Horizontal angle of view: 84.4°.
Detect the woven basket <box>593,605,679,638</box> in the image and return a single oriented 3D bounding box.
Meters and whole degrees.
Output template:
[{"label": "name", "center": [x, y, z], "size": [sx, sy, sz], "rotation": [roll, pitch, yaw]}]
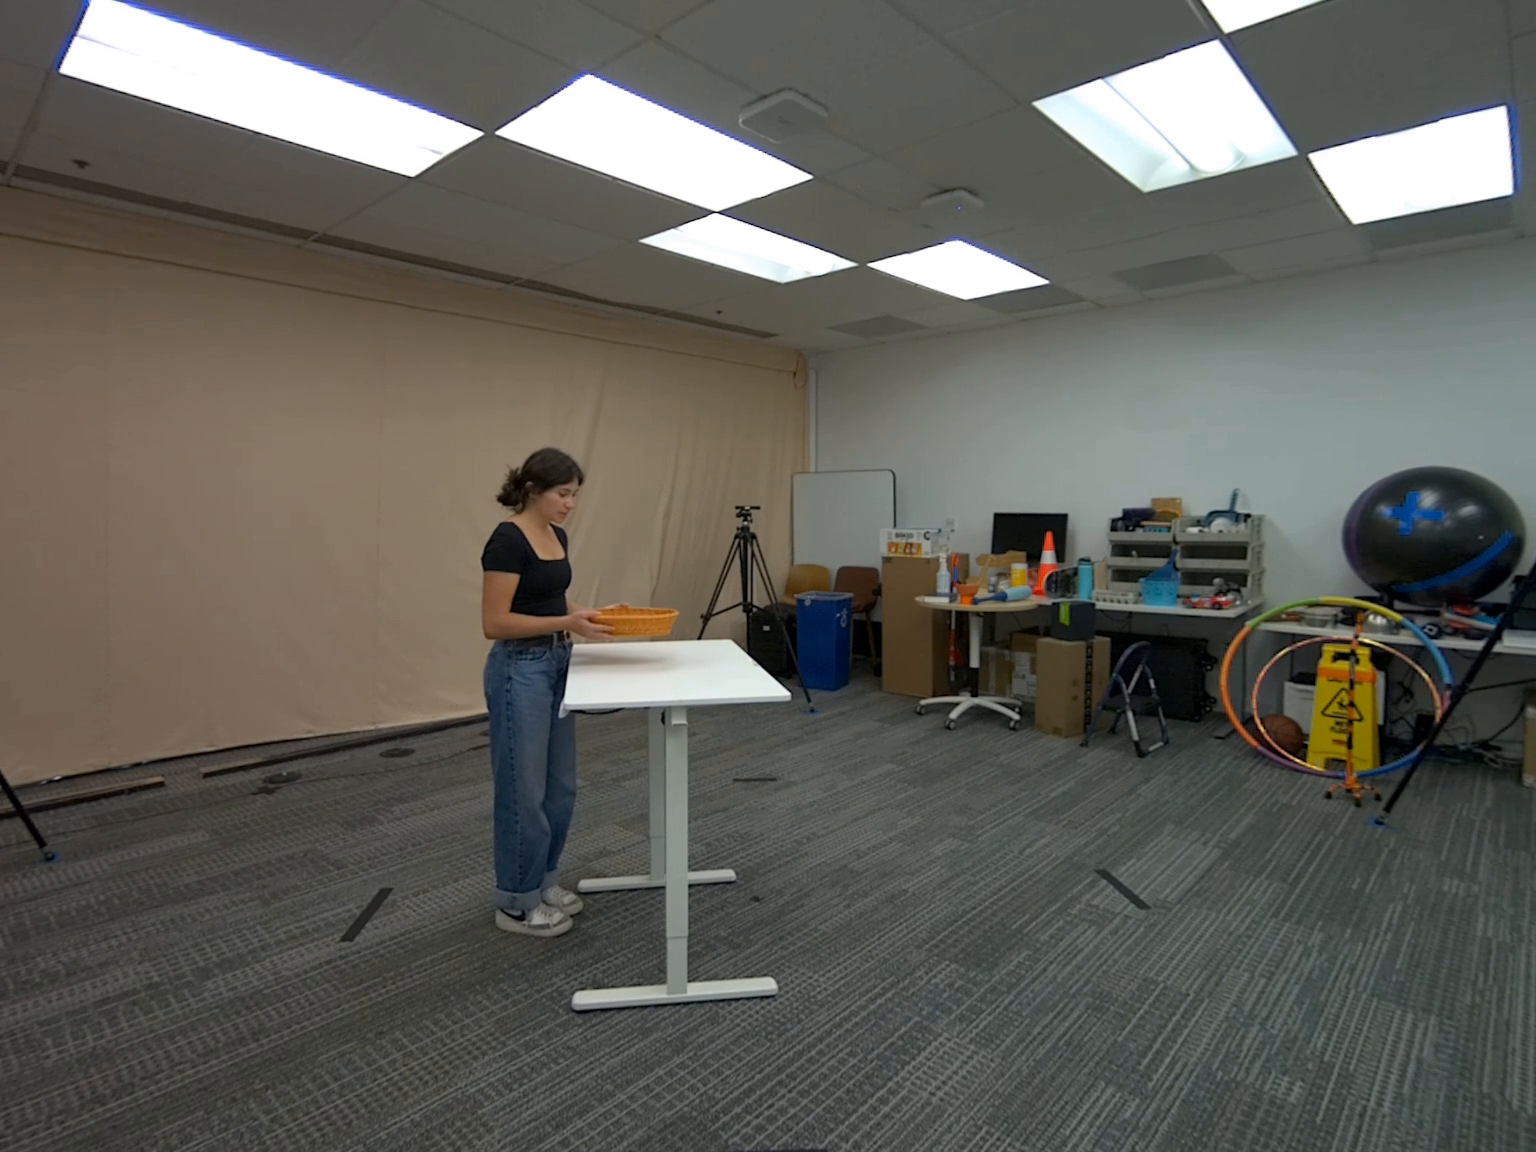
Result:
[{"label": "woven basket", "center": [-0.463, 0.162, 2.774], "size": [0.359, 0.073, 0.247], "rotation": [1, 4, 22]}]
